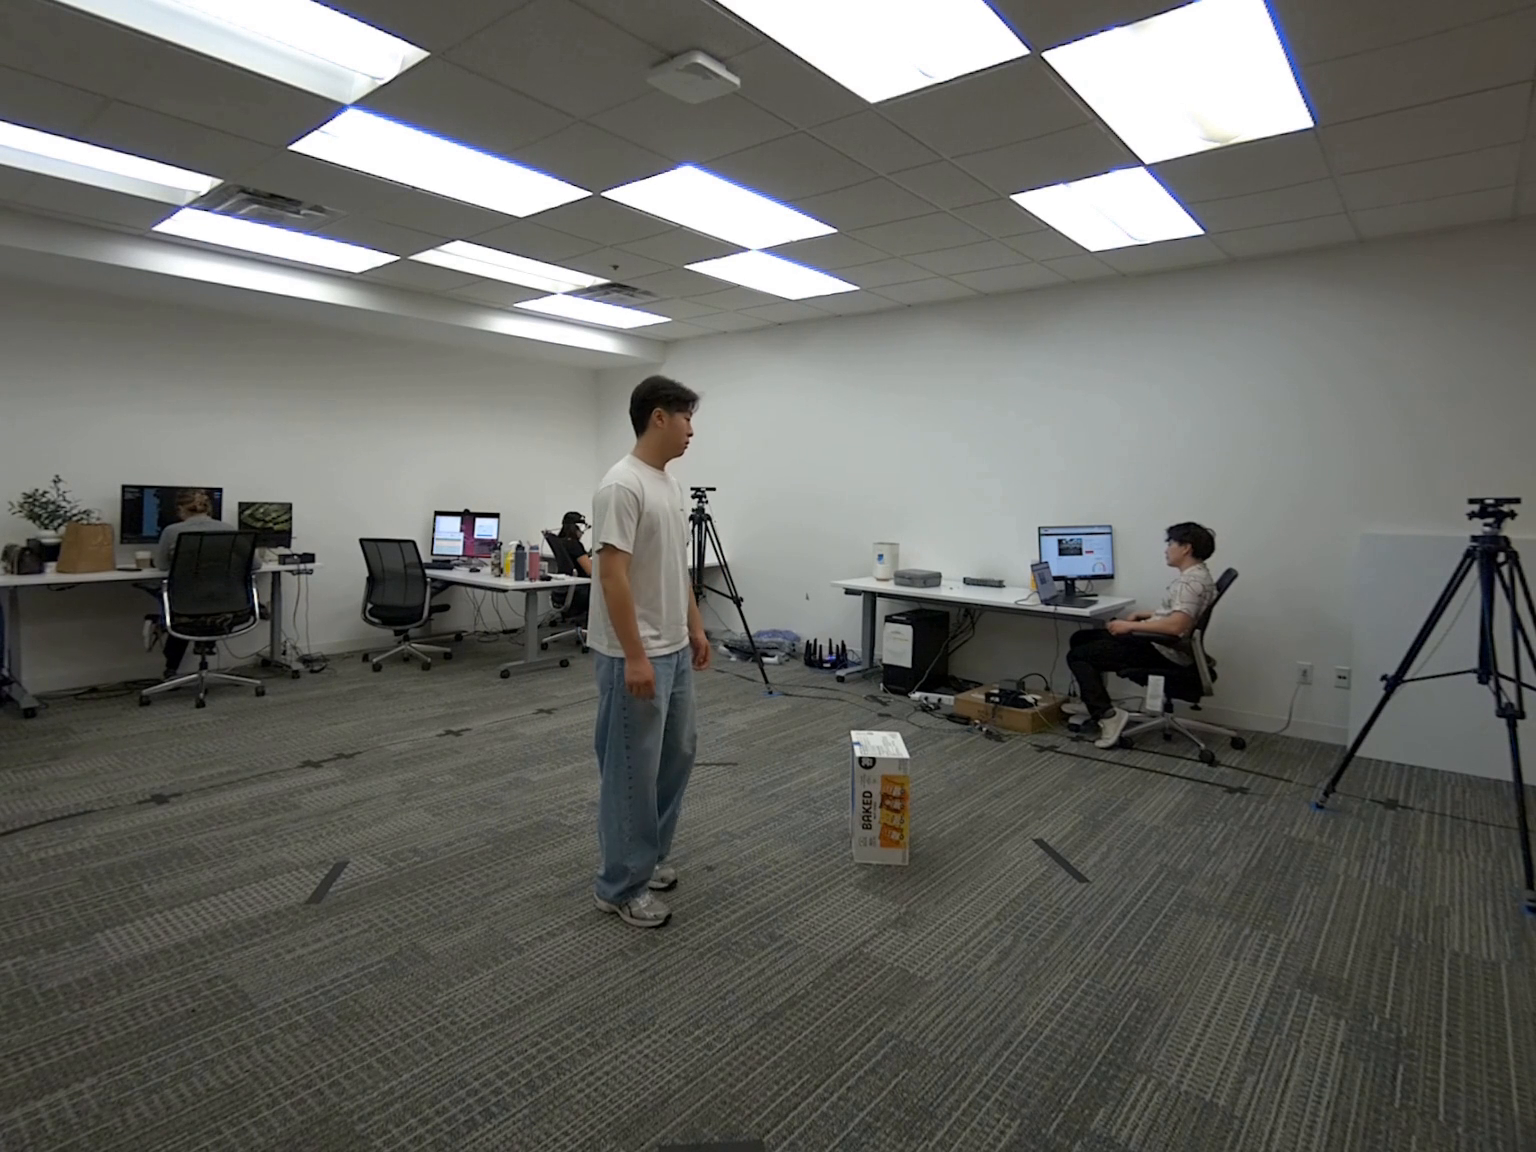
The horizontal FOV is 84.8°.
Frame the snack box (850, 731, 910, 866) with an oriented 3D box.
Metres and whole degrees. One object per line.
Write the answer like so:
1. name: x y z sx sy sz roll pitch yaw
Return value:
1. snack box: 0.429 0.855 3.346 0.206 0.404 0.340 0 4 2
